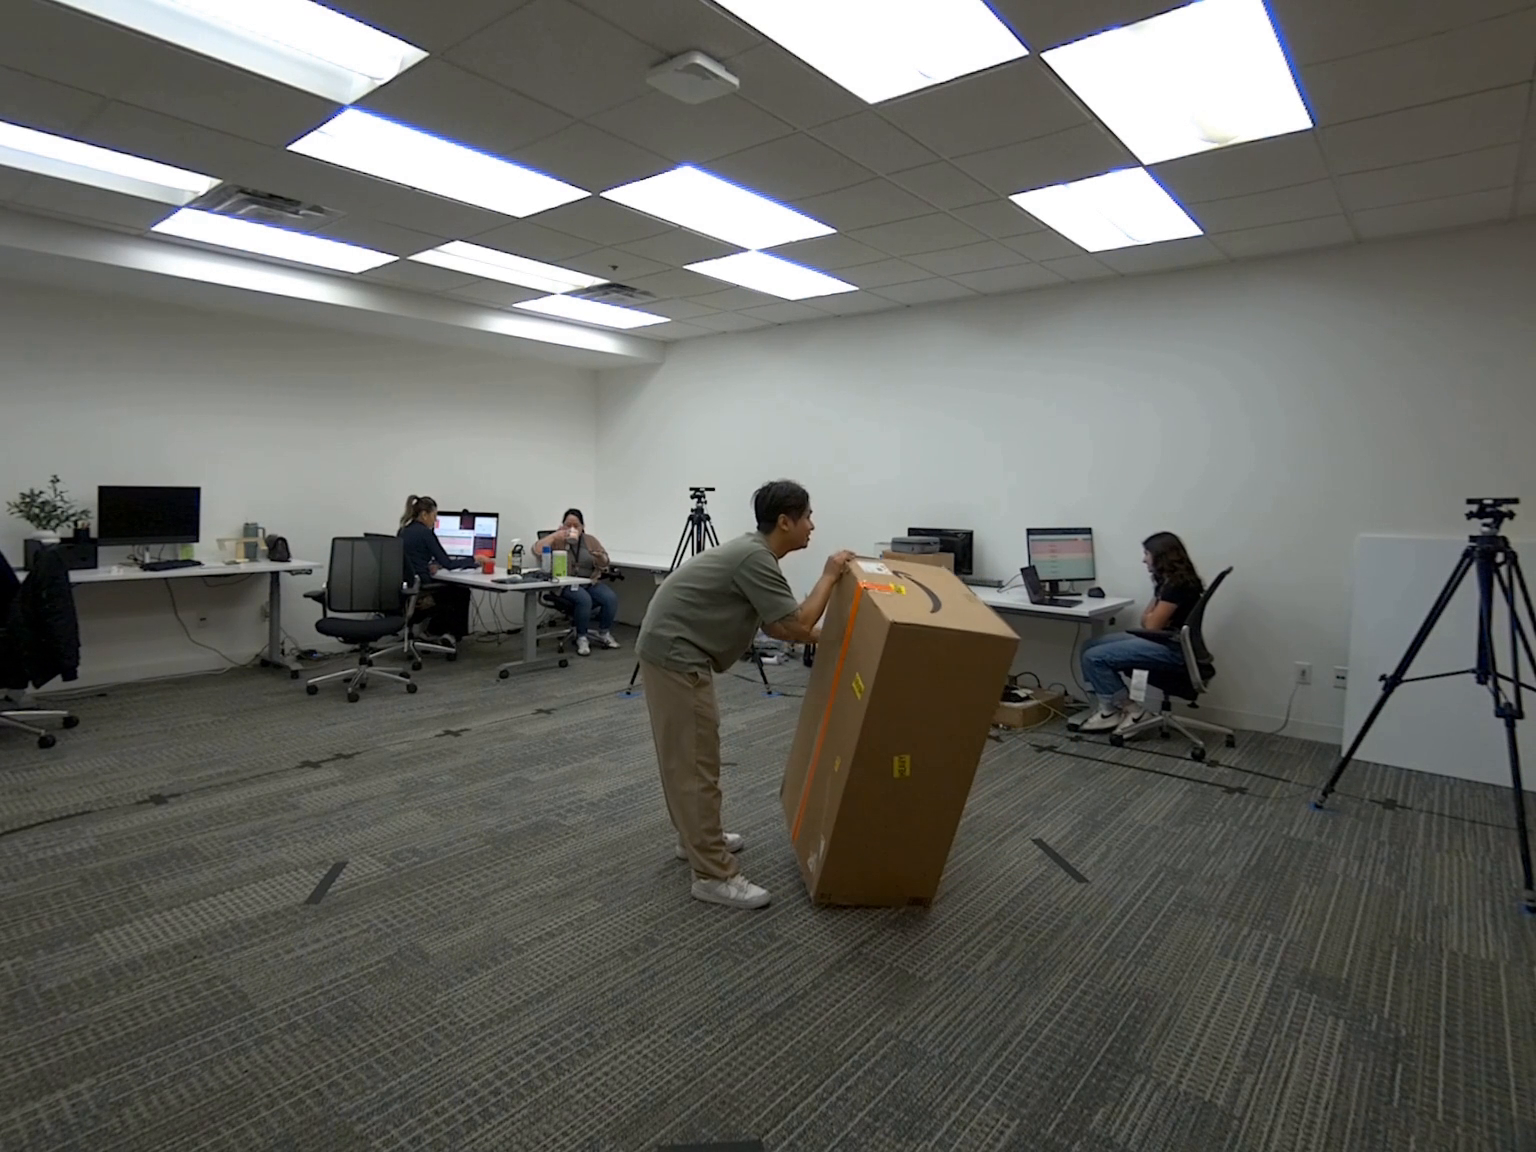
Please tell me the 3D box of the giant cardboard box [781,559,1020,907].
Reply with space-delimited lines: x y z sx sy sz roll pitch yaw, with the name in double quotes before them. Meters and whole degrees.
"giant cardboard box" 0.393 0.523 2.926 0.420 1.013 0.593 8 19 -14
